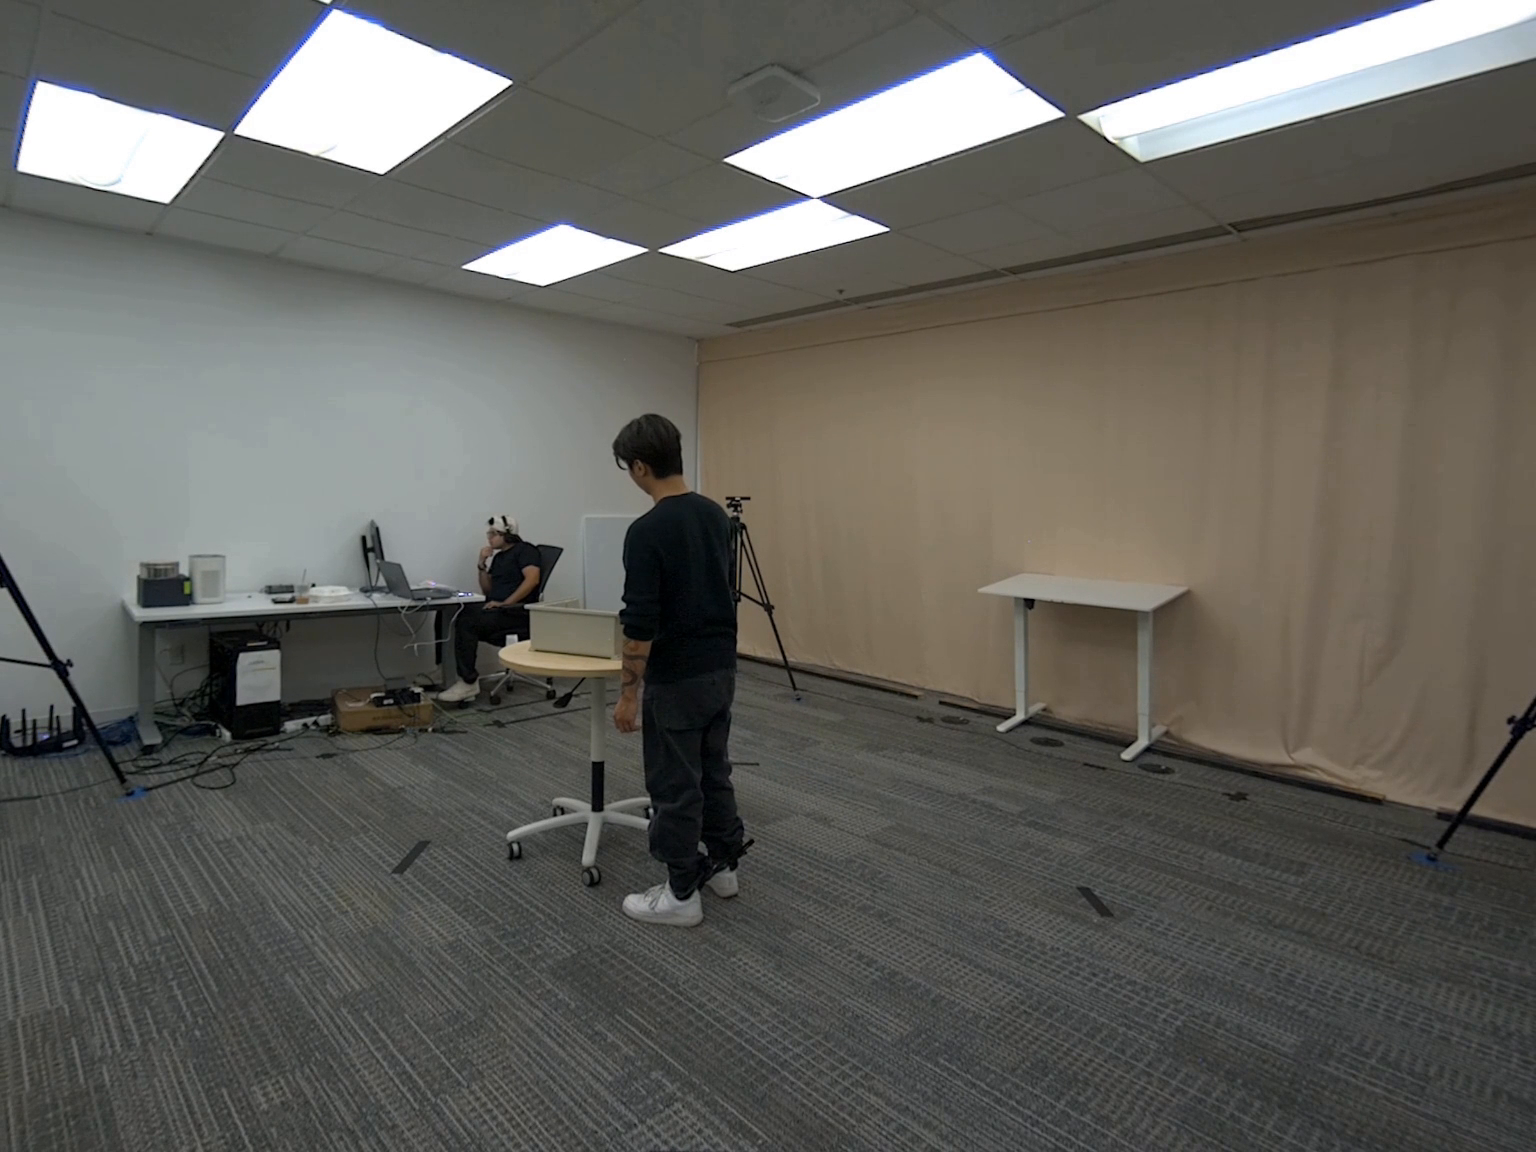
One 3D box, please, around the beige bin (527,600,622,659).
[{"bbox_3d":[-0.696,0.210,3.351,0.429,0.188,0.372,3,4,19],"label":"beige bin"}]
